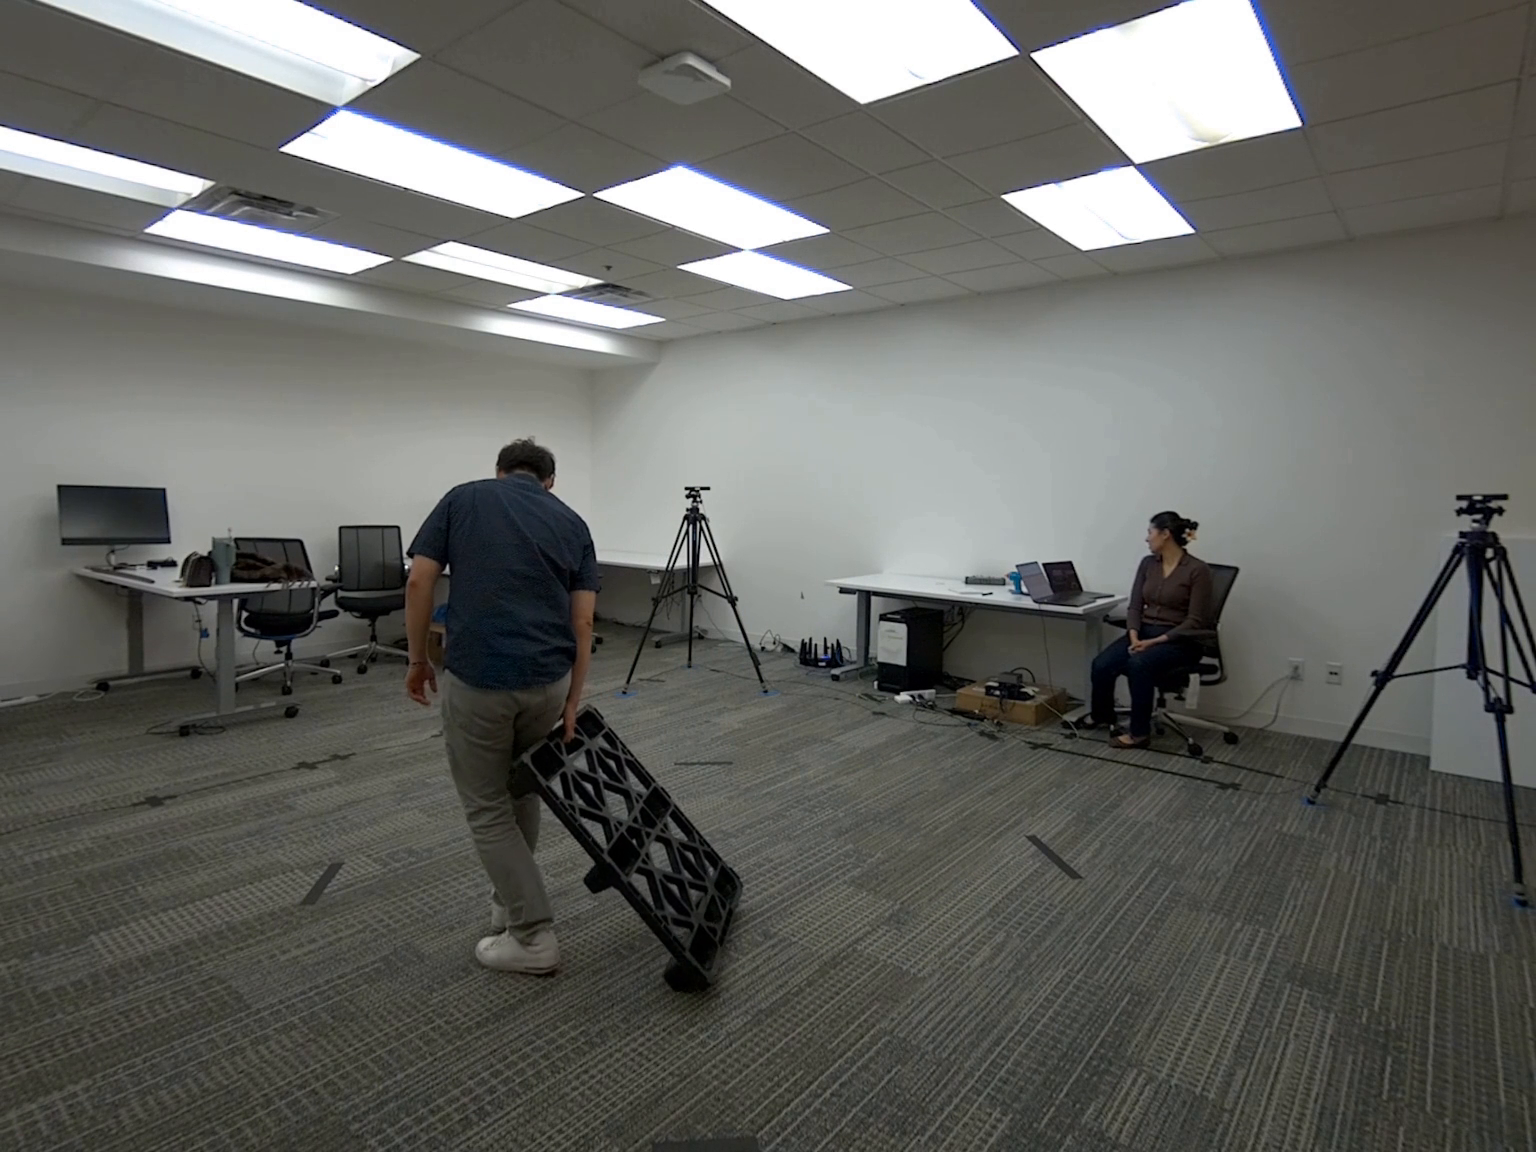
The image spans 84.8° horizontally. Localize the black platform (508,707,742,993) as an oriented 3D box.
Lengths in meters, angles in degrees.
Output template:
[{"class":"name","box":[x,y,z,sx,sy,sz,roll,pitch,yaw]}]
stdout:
[{"class":"black platform","box":[-0.429,0.803,2.584,0.143,0.810,0.601,-42,-3,9]}]
